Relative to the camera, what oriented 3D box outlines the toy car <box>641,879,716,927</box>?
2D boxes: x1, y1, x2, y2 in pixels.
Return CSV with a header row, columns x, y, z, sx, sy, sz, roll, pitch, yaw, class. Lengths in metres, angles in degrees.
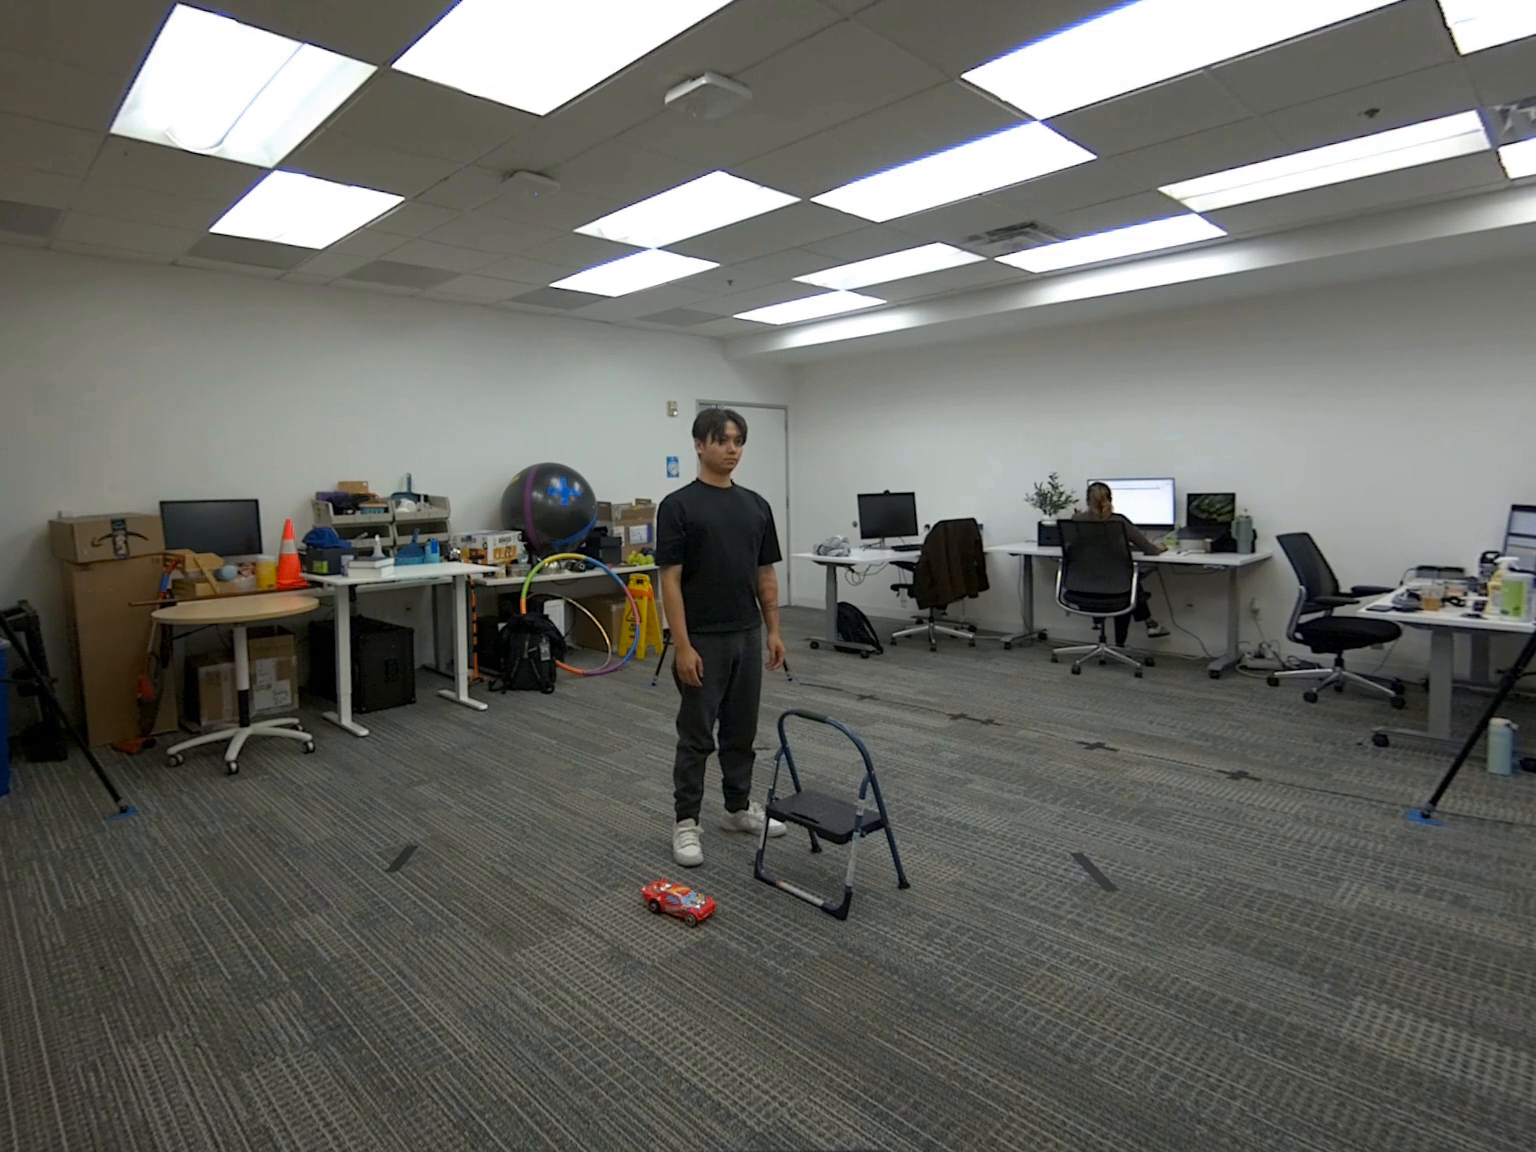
x,y,z,sx,sy,sz,roll,pitch,yaw,class
-0.289,1.062,2.769,0.262,0.082,0.128,15,17,28,toy car
